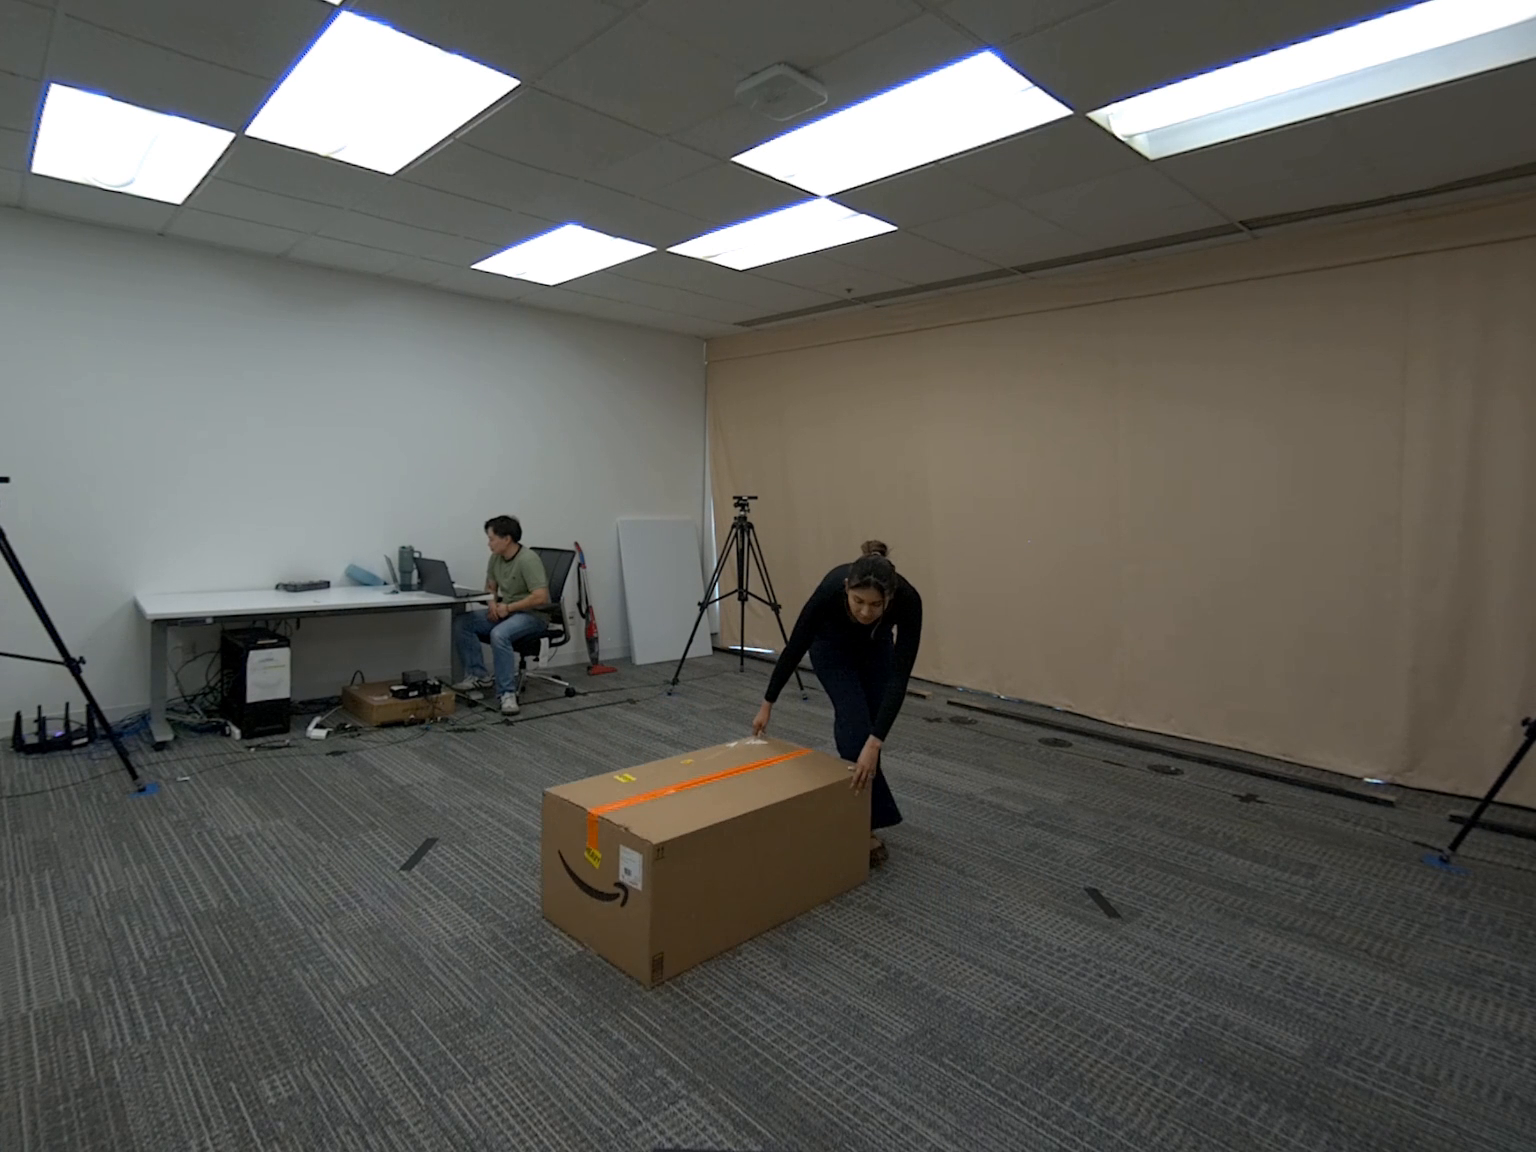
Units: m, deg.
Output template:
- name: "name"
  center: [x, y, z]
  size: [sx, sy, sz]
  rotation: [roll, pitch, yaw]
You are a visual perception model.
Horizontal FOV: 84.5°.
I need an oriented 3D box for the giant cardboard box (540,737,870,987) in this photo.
- name: "giant cardboard box"
  center: [-0.191, 0.905, 2.902]
  size: [0.592, 0.425, 1.003]
  rotation: [5, 6, 44]
